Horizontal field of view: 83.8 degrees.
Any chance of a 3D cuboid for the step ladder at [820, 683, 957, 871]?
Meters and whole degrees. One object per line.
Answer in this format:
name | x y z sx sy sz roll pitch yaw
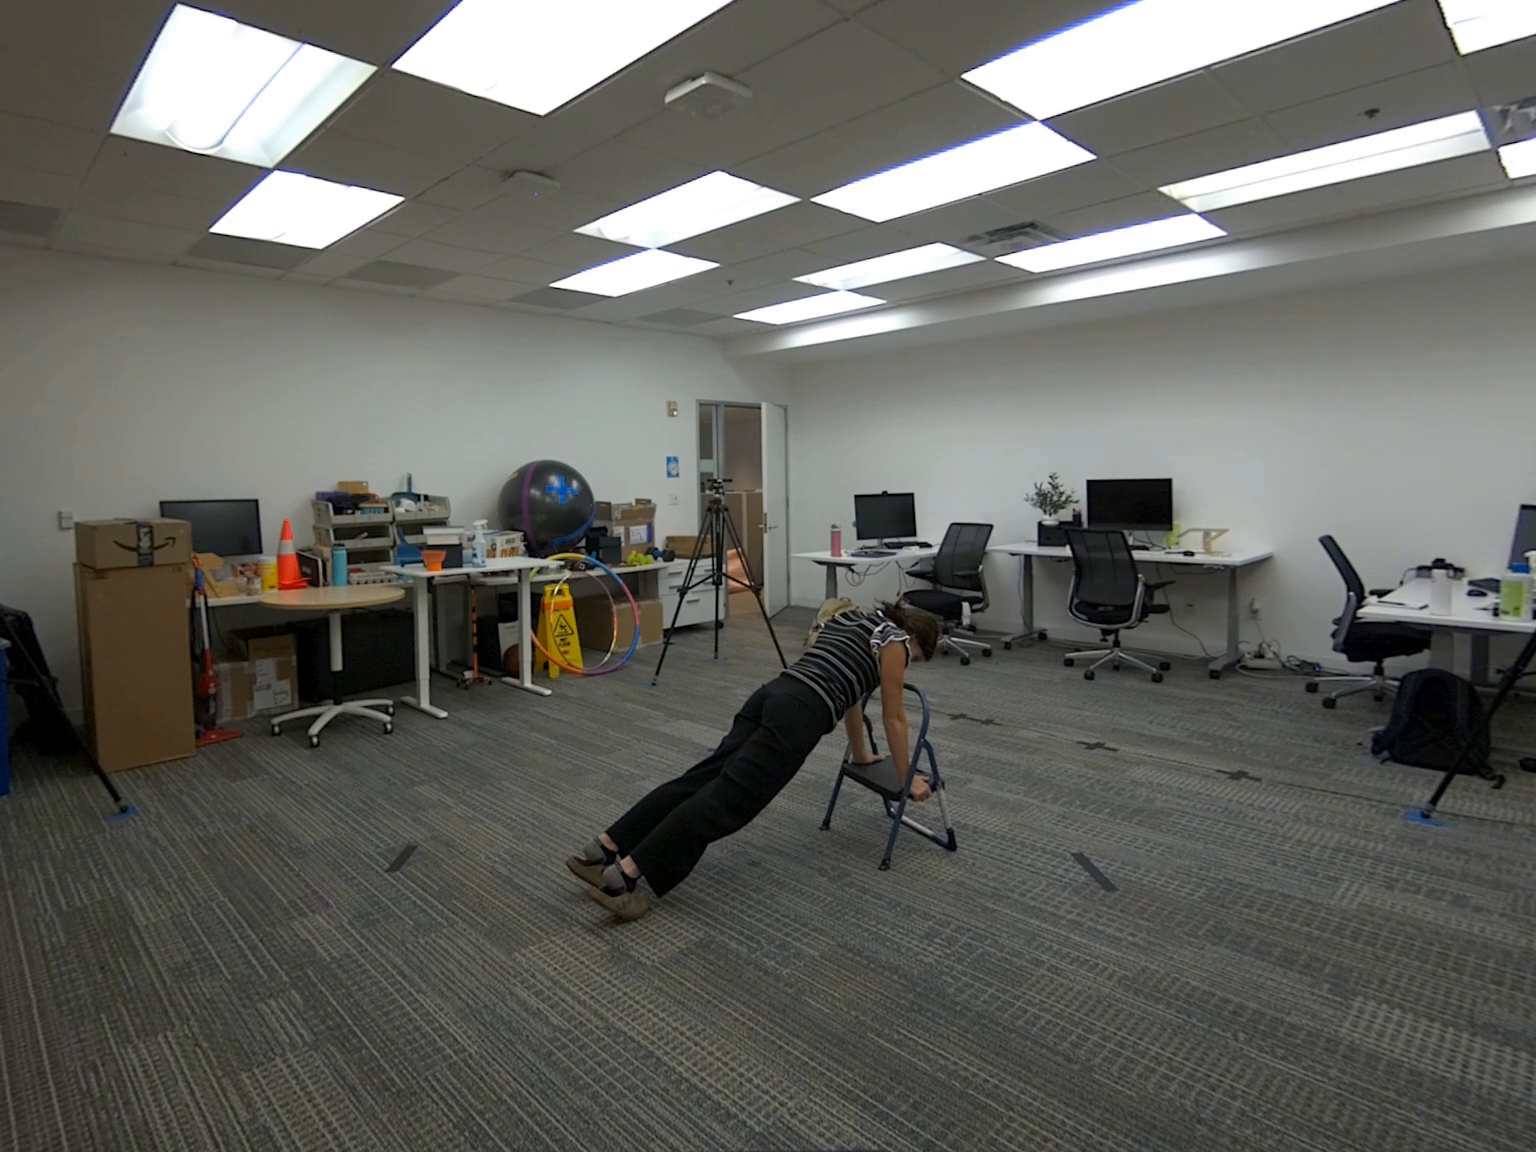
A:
step ladder | 0.457 0.716 3.280 0.341 0.604 0.442 -2 5 -28
